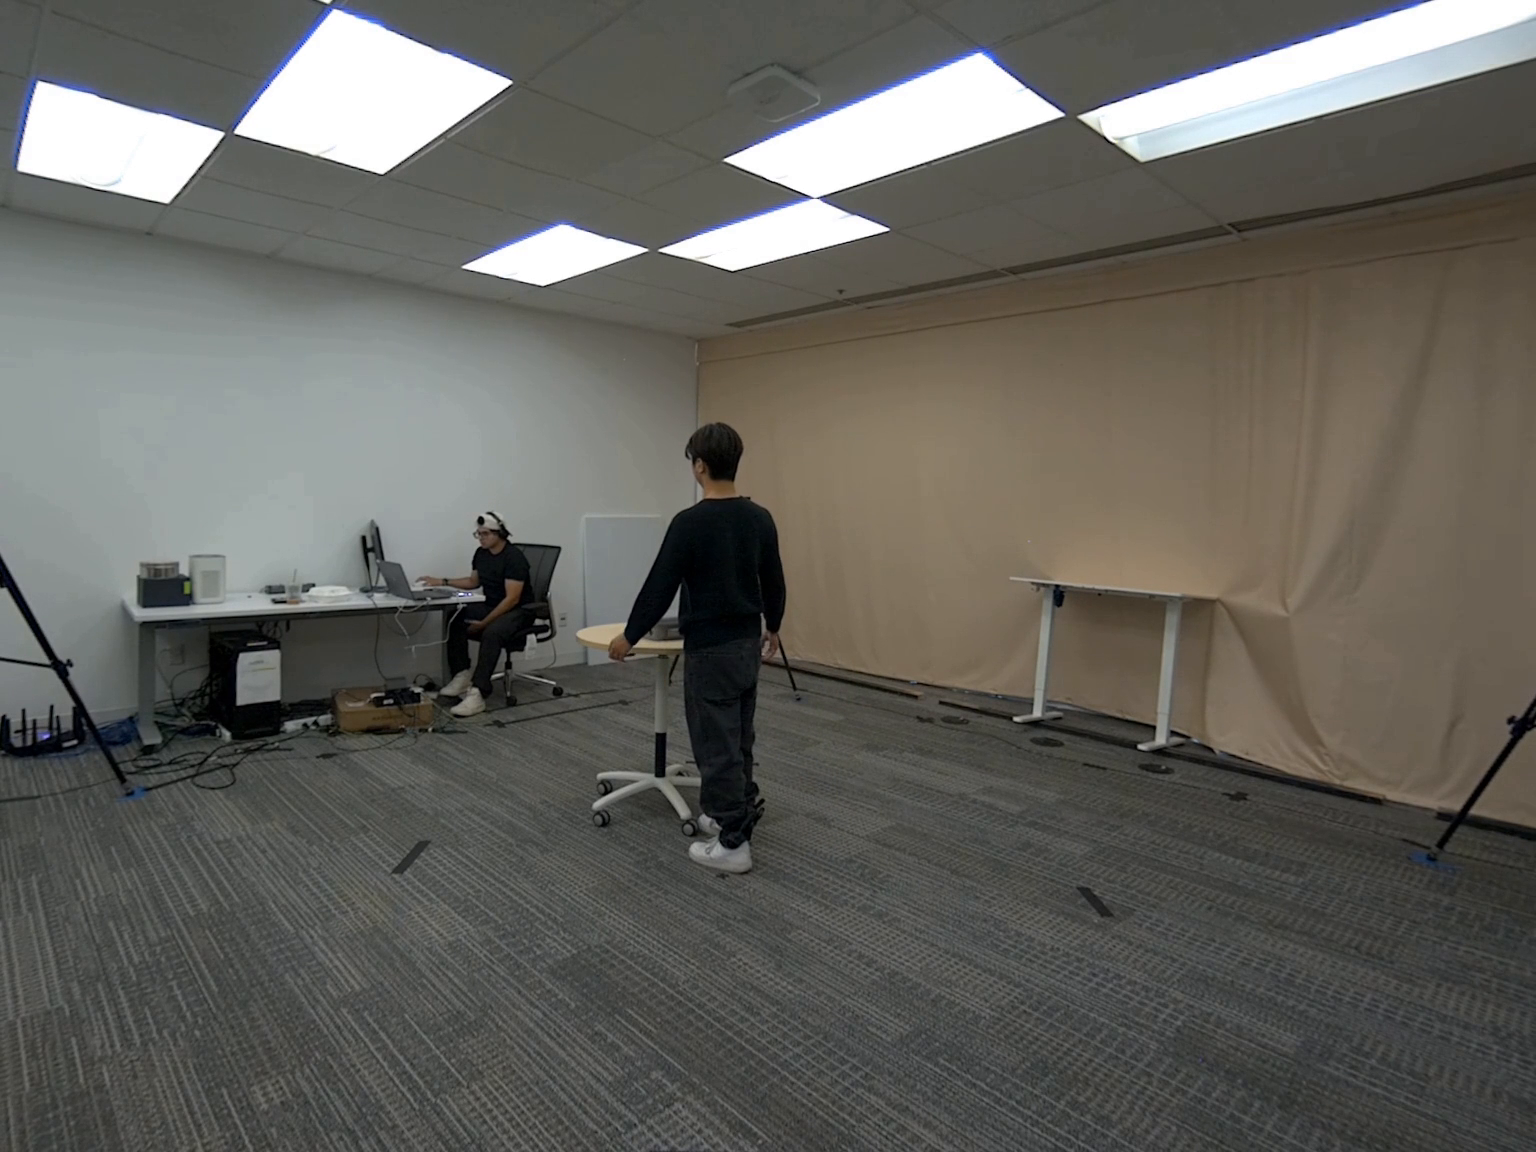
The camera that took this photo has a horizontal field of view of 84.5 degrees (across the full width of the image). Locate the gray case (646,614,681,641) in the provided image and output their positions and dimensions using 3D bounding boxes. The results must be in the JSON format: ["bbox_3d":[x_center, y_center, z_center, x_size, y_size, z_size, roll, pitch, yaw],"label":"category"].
[{"bbox_3d":[-0.462,0.211,3.701,0.251,0.104,0.267,0,5,-36],"label":"gray case"}]
